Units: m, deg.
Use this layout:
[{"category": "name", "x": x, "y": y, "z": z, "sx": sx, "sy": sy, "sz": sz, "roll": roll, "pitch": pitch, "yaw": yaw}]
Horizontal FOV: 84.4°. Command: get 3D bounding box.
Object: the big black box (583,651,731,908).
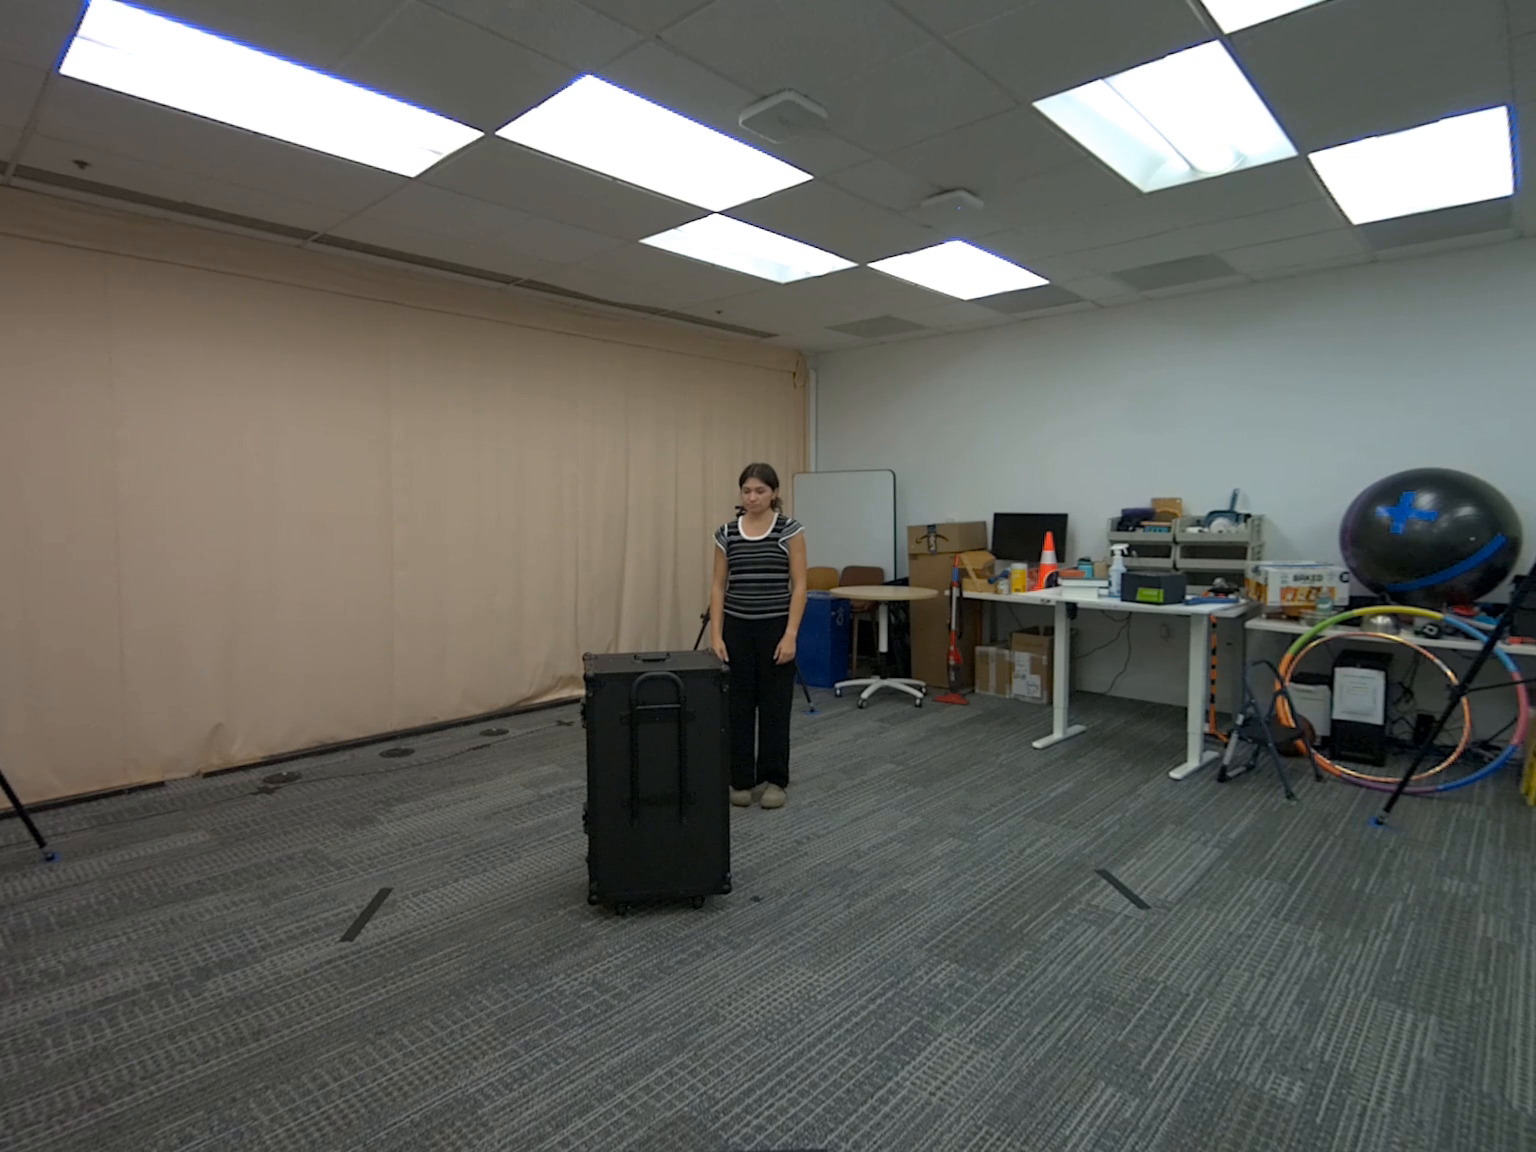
[{"category": "big black box", "x": -0.397, "y": 0.719, "z": 2.977, "sx": 0.516, "sy": 0.859, "sz": 0.401, "roll": -1, "pitch": 4, "yaw": -10}]
